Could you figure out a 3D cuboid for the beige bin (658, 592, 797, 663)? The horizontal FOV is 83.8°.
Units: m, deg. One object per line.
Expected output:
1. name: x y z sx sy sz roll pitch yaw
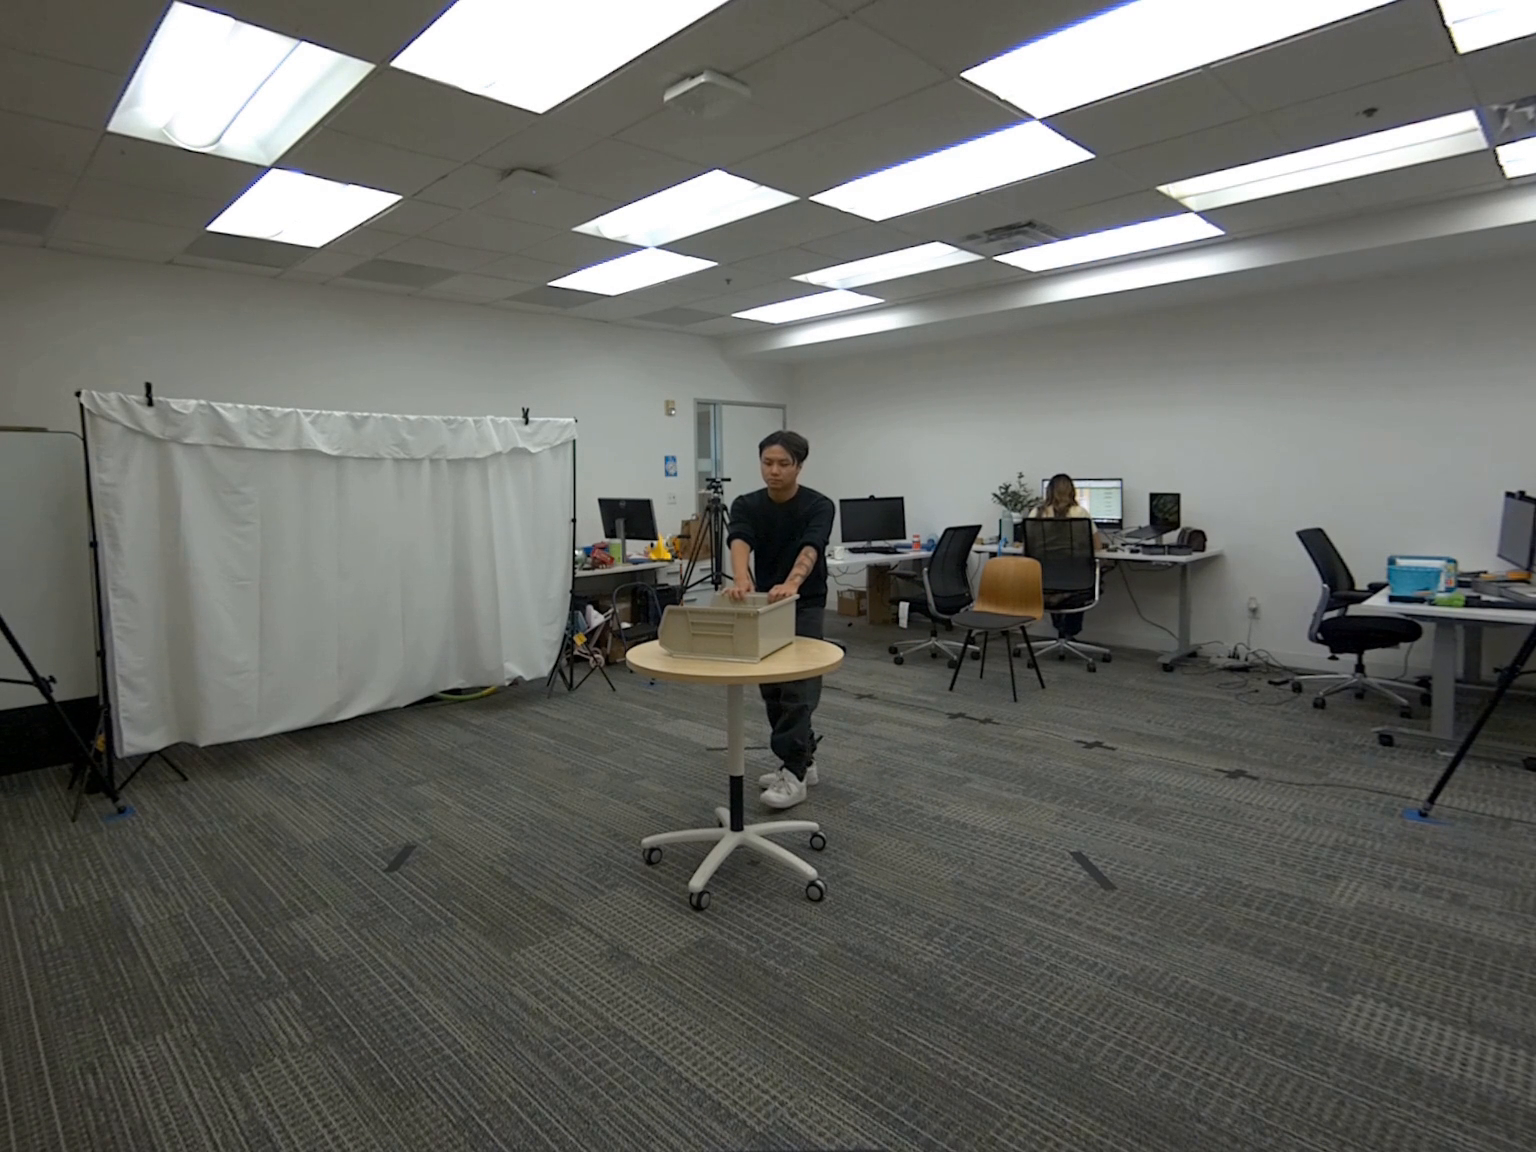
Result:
1. beige bin: -0.133 0.174 3.069 0.385 0.188 0.415 3 6 21
